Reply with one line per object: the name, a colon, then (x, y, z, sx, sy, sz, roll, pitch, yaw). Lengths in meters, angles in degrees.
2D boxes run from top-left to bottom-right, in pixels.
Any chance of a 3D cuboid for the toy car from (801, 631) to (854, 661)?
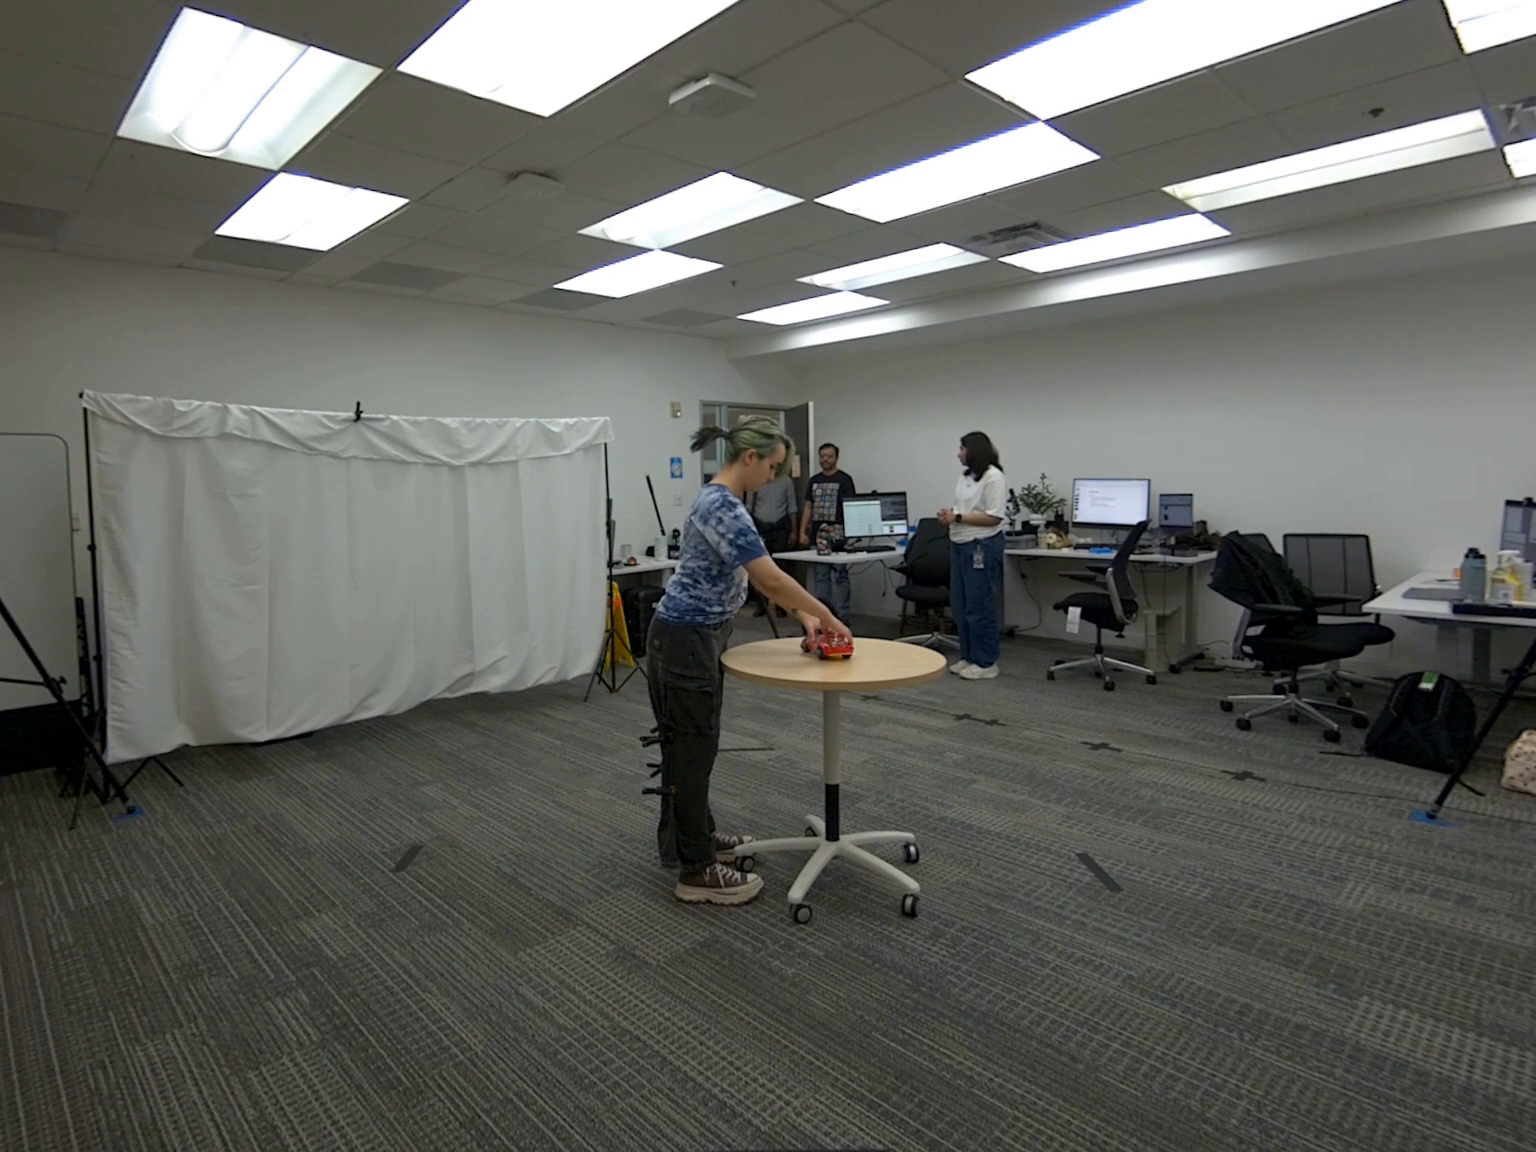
toy car: (0.210, 0.244, 2.945, 0.128, 0.084, 0.257, -1, -5, -17)
